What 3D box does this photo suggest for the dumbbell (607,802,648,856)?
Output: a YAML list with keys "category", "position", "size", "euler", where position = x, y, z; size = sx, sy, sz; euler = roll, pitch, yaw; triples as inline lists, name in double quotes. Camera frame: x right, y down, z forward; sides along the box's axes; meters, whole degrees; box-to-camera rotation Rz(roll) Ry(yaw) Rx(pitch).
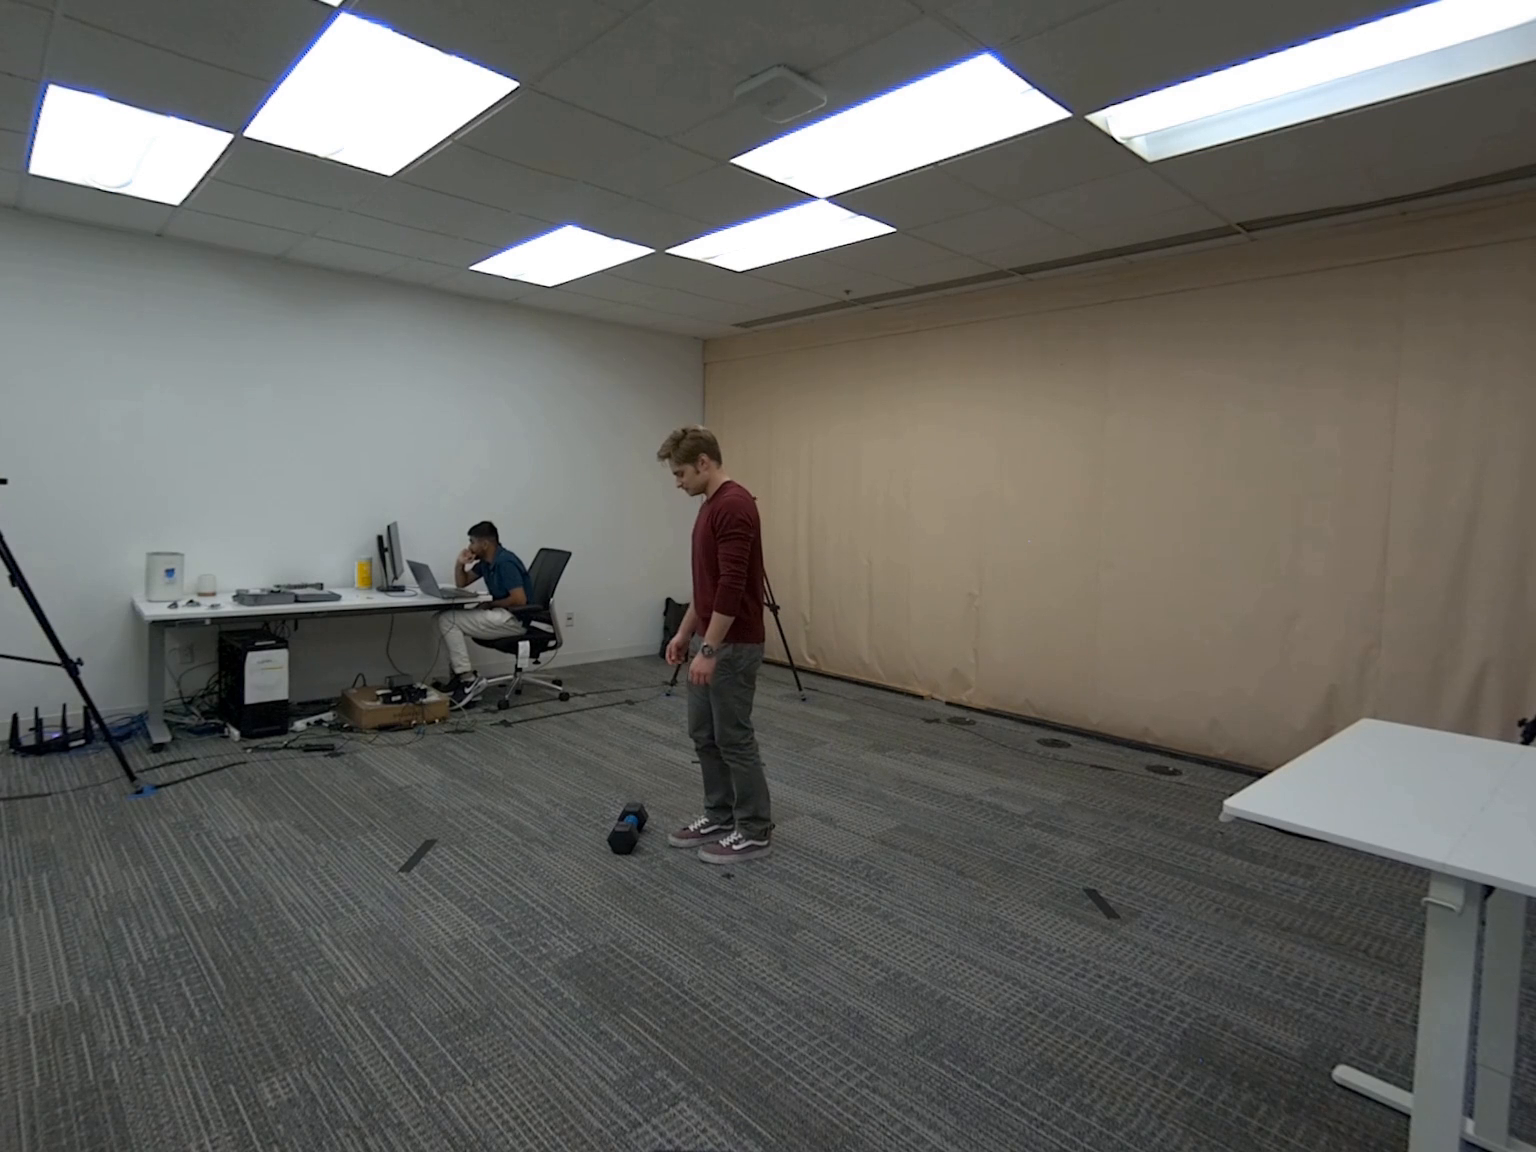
- category: "dumbbell"
  position: [-0.568, 1.015, 3.398]
  size: [0.109, 0.123, 0.294]
  euler: [31, 5, -2]
